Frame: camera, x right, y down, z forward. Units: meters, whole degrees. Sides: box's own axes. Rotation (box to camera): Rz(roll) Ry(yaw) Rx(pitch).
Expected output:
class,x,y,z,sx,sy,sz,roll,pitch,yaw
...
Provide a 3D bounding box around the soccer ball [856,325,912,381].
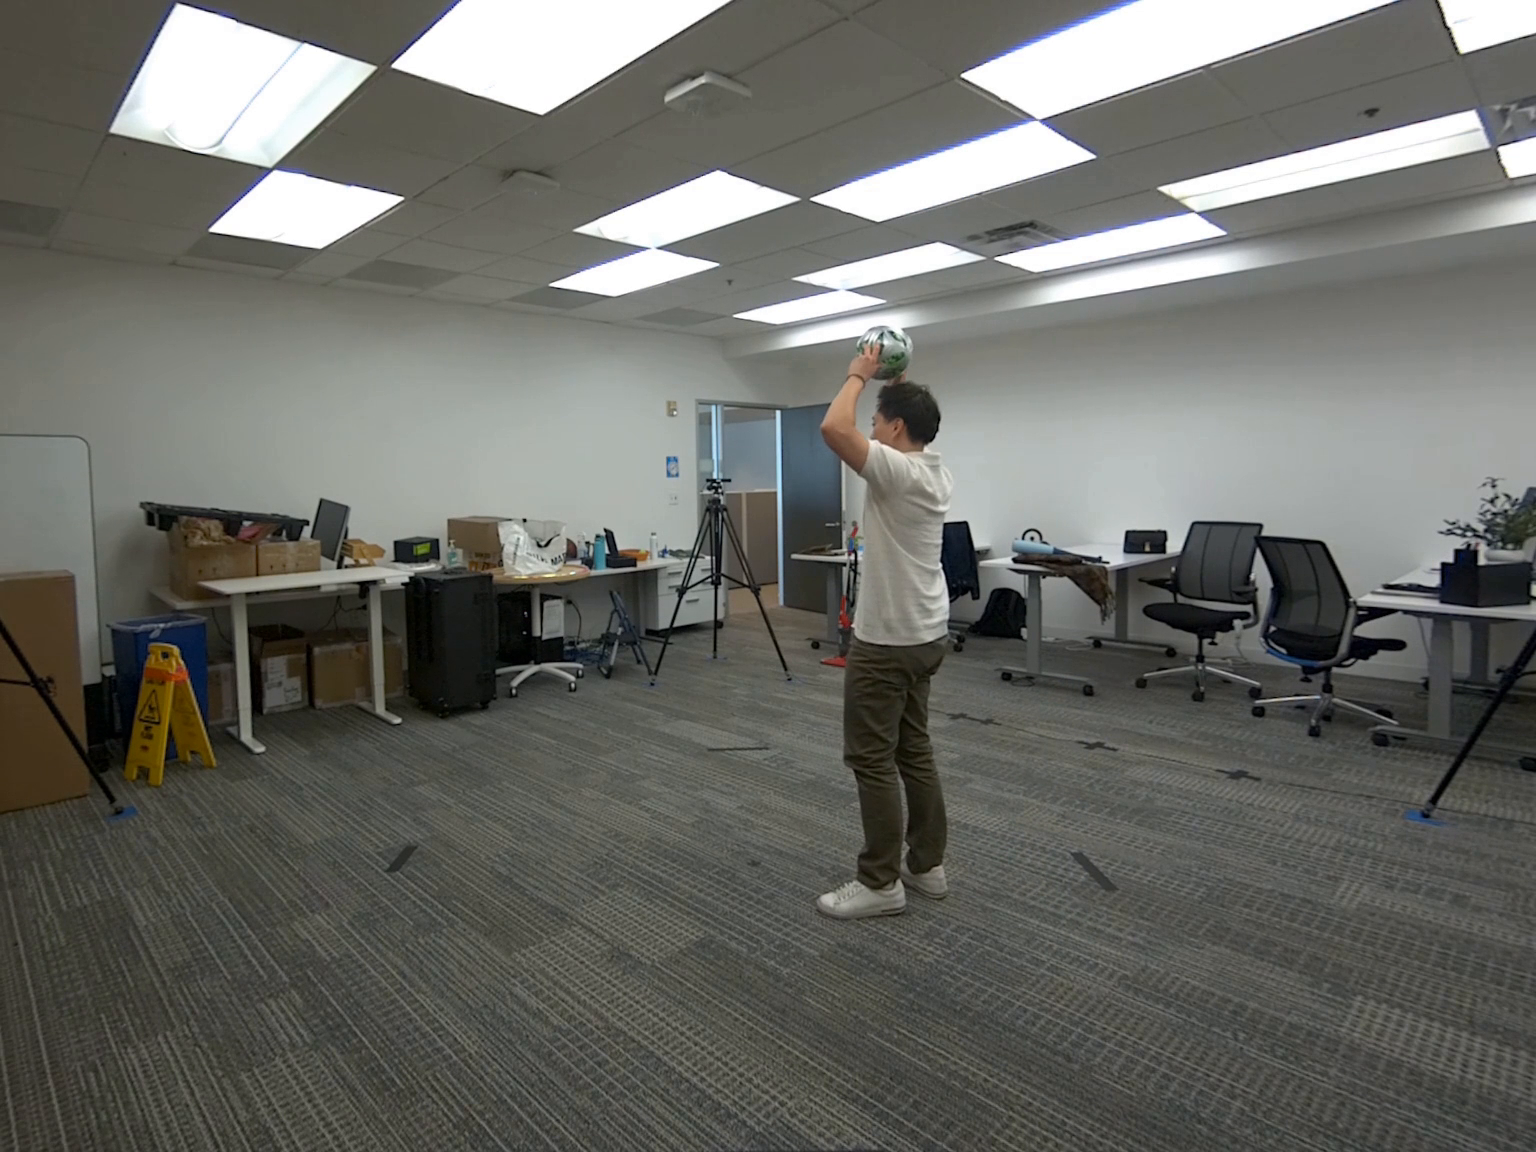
class,x,y,z,sx,sy,sz,roll,pitch,yaw
soccer ball,0.387,-0.744,2.863,0.187,0.187,0.188,-1,5,-2
